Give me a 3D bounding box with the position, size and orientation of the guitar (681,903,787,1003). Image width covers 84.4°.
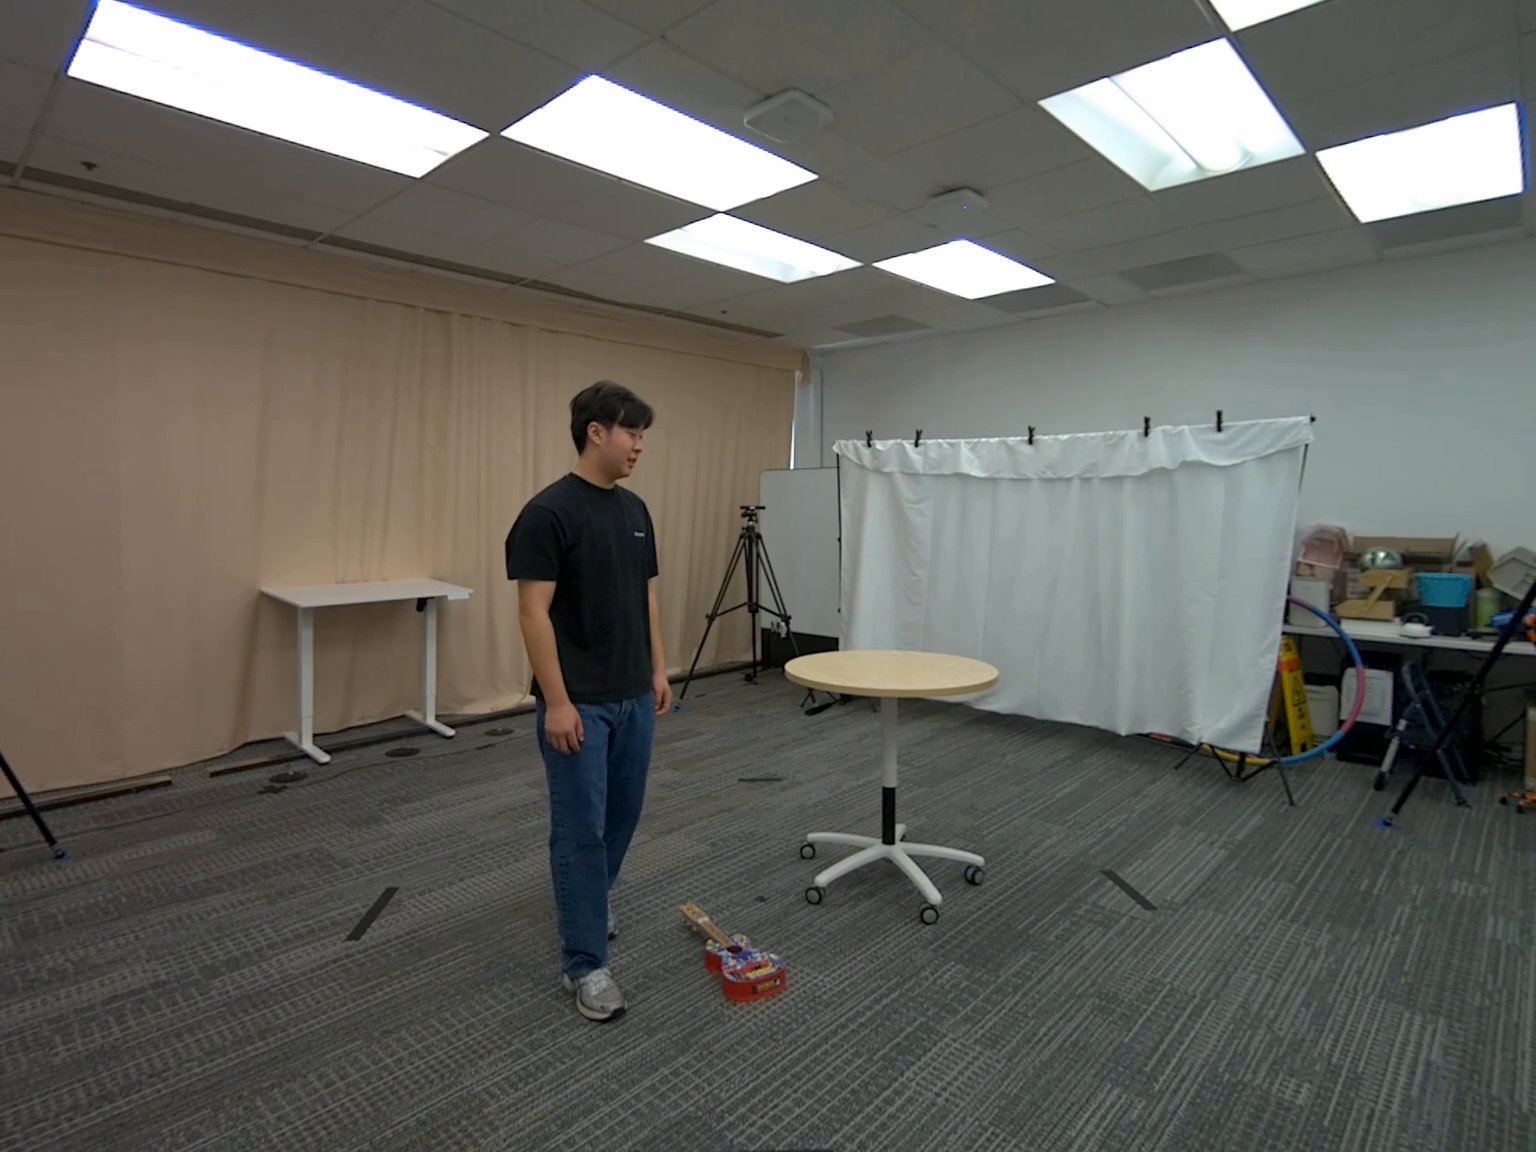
[{"bbox_3d":[-0.110,1.144,2.603,0.189,0.070,0.510,-3,6,-23],"label":"guitar"}]
